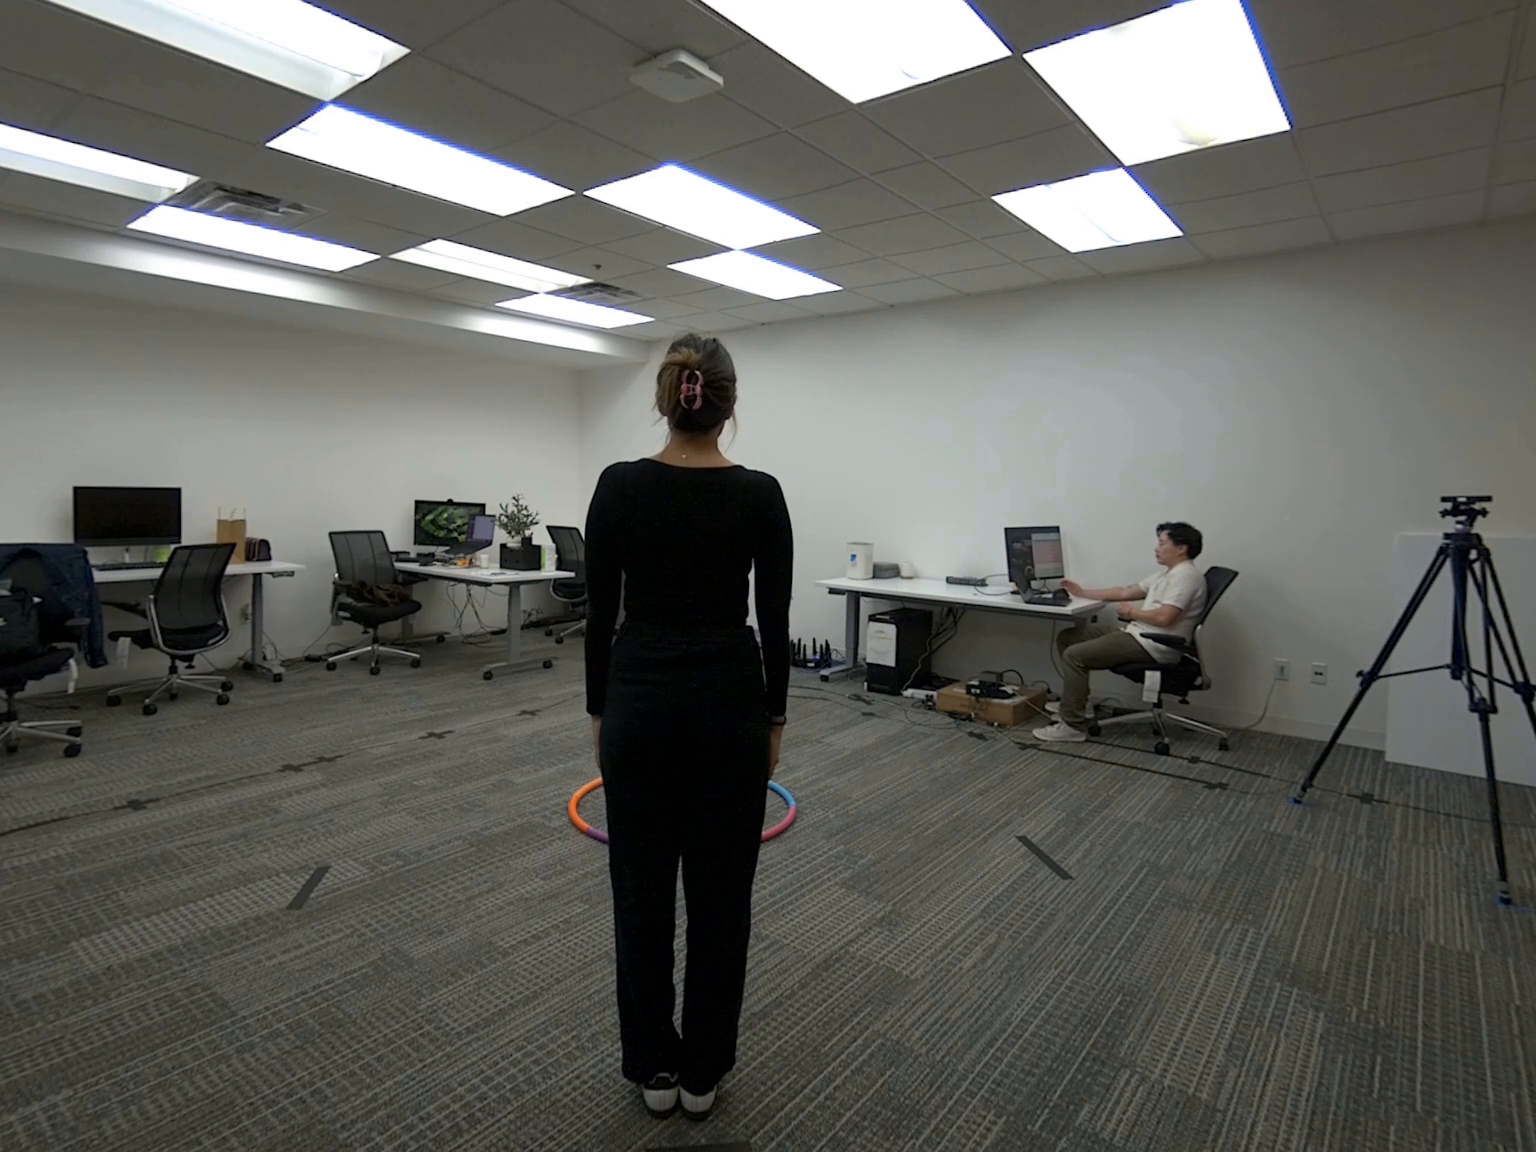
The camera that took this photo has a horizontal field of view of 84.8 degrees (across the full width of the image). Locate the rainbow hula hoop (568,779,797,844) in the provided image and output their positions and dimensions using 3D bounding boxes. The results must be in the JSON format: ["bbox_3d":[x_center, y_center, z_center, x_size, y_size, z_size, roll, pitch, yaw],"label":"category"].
[{"bbox_3d":[-0.380,0.974,3.696,0.978,0.035,0.984,1,6,-2],"label":"rainbow hula hoop"}]
